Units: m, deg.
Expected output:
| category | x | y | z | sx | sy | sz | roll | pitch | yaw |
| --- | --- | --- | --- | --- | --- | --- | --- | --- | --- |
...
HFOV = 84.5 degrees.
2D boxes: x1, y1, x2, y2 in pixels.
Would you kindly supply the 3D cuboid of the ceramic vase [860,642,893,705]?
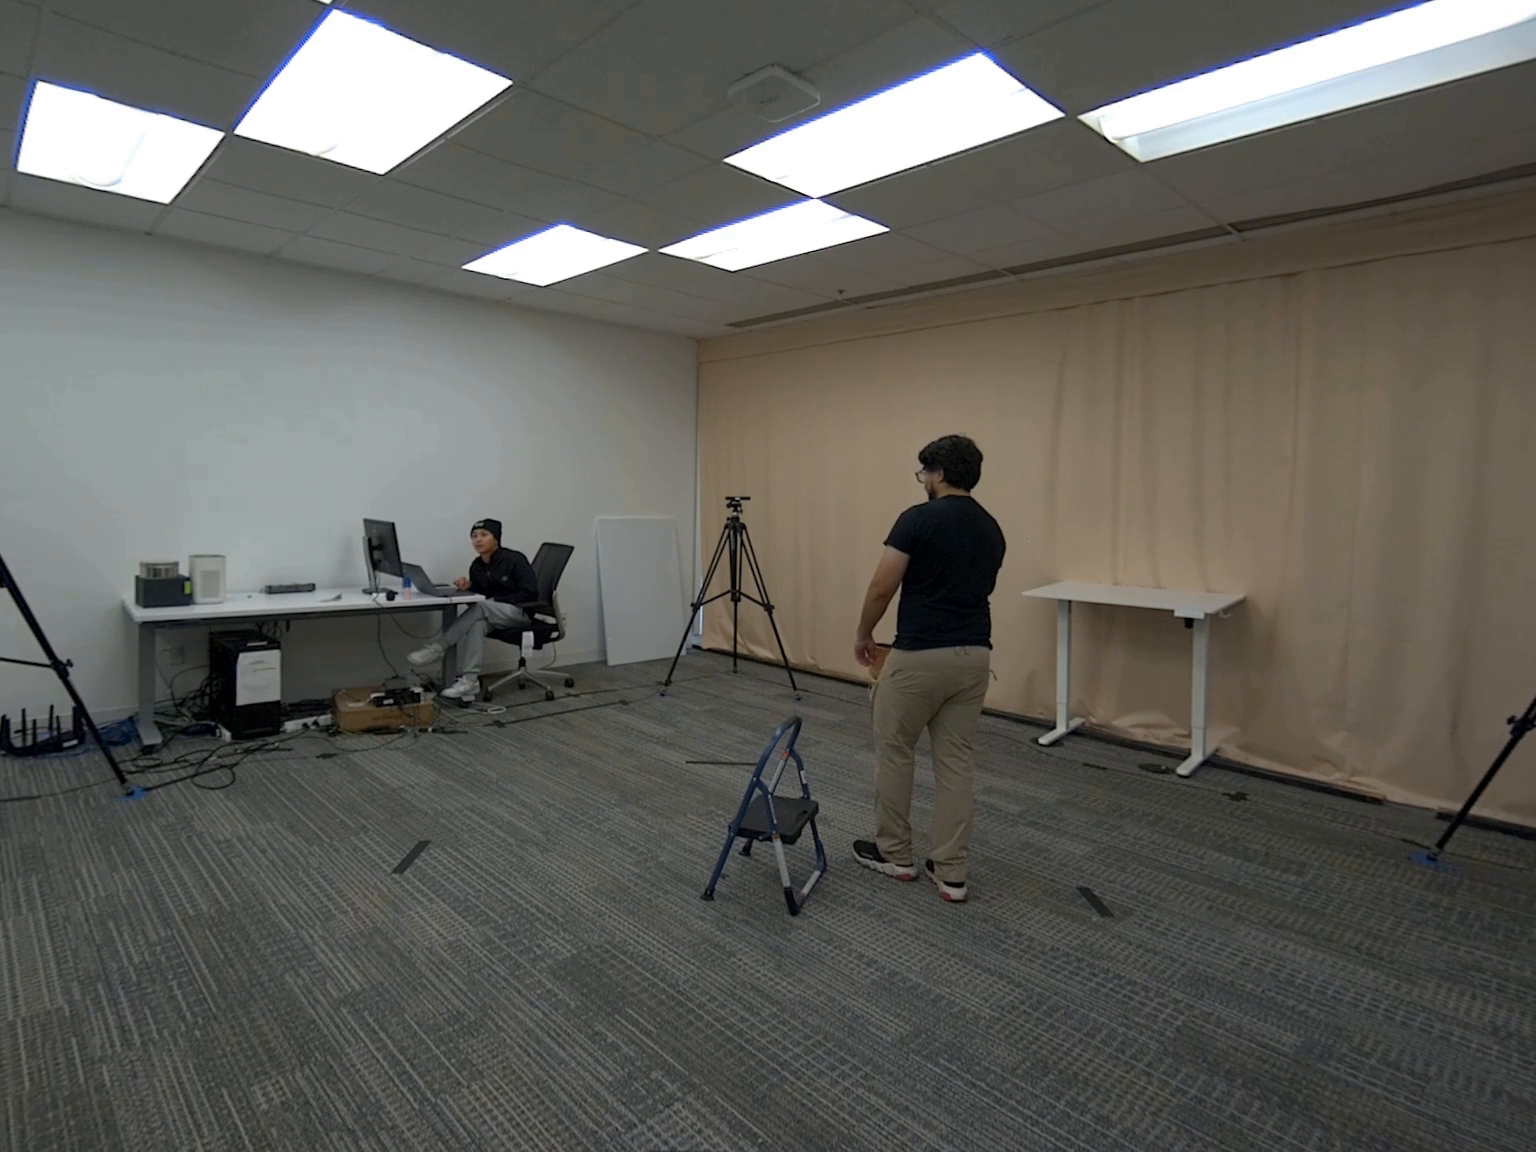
| category | x | y | z | sx | sy | sz | roll | pitch | yaw |
| --- | --- | --- | --- | --- | --- | --- | --- | --- | --- |
| ceramic vase | 0.463 | 0.384 | 3.307 | 0.159 | 0.219 | 0.135 | 8 | 4 | 1 |
